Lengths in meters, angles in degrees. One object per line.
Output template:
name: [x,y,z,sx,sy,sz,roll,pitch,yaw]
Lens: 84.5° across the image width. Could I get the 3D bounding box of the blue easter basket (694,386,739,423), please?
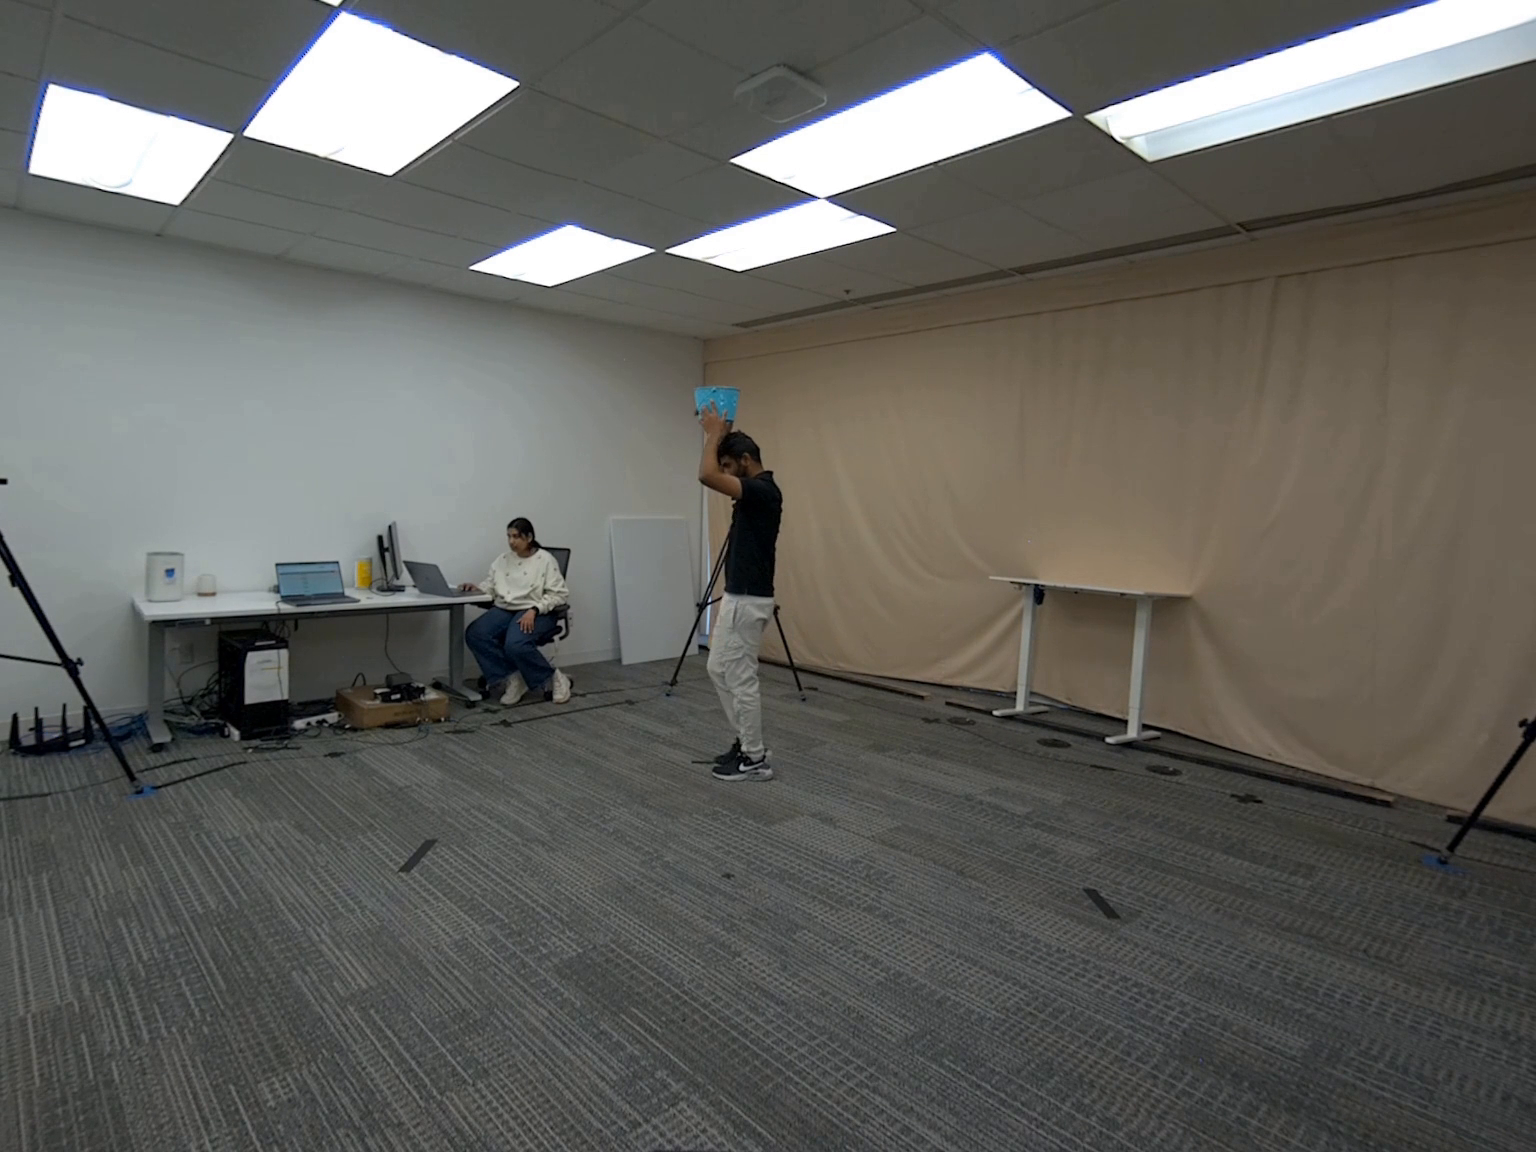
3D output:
blue easter basket: [-0.256,-0.847,4.179,0.243,0.156,0.244,2,1,-1]
